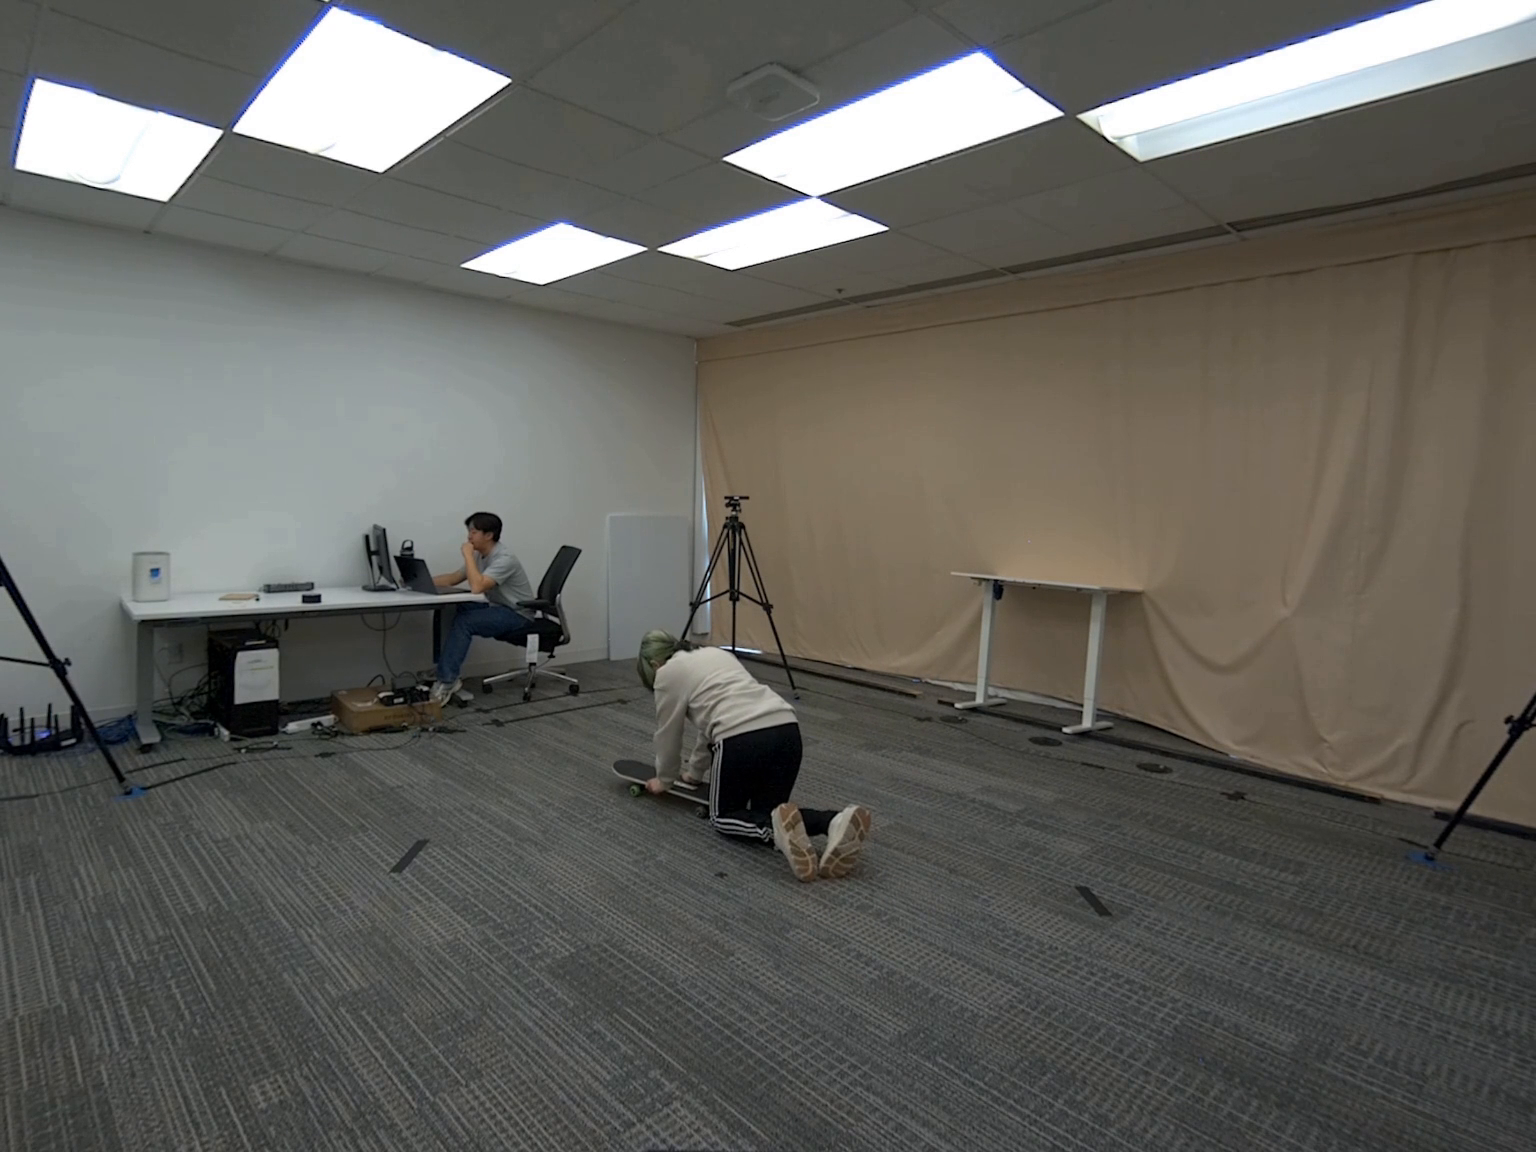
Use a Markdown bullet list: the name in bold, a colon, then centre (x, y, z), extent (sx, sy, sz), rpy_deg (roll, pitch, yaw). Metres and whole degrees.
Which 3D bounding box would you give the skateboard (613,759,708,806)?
- **skateboard**: centre (-0.412, 0.980, 3.840), extent (0.805, 0.110, 0.189), rpy_deg (6, 6, 37)
